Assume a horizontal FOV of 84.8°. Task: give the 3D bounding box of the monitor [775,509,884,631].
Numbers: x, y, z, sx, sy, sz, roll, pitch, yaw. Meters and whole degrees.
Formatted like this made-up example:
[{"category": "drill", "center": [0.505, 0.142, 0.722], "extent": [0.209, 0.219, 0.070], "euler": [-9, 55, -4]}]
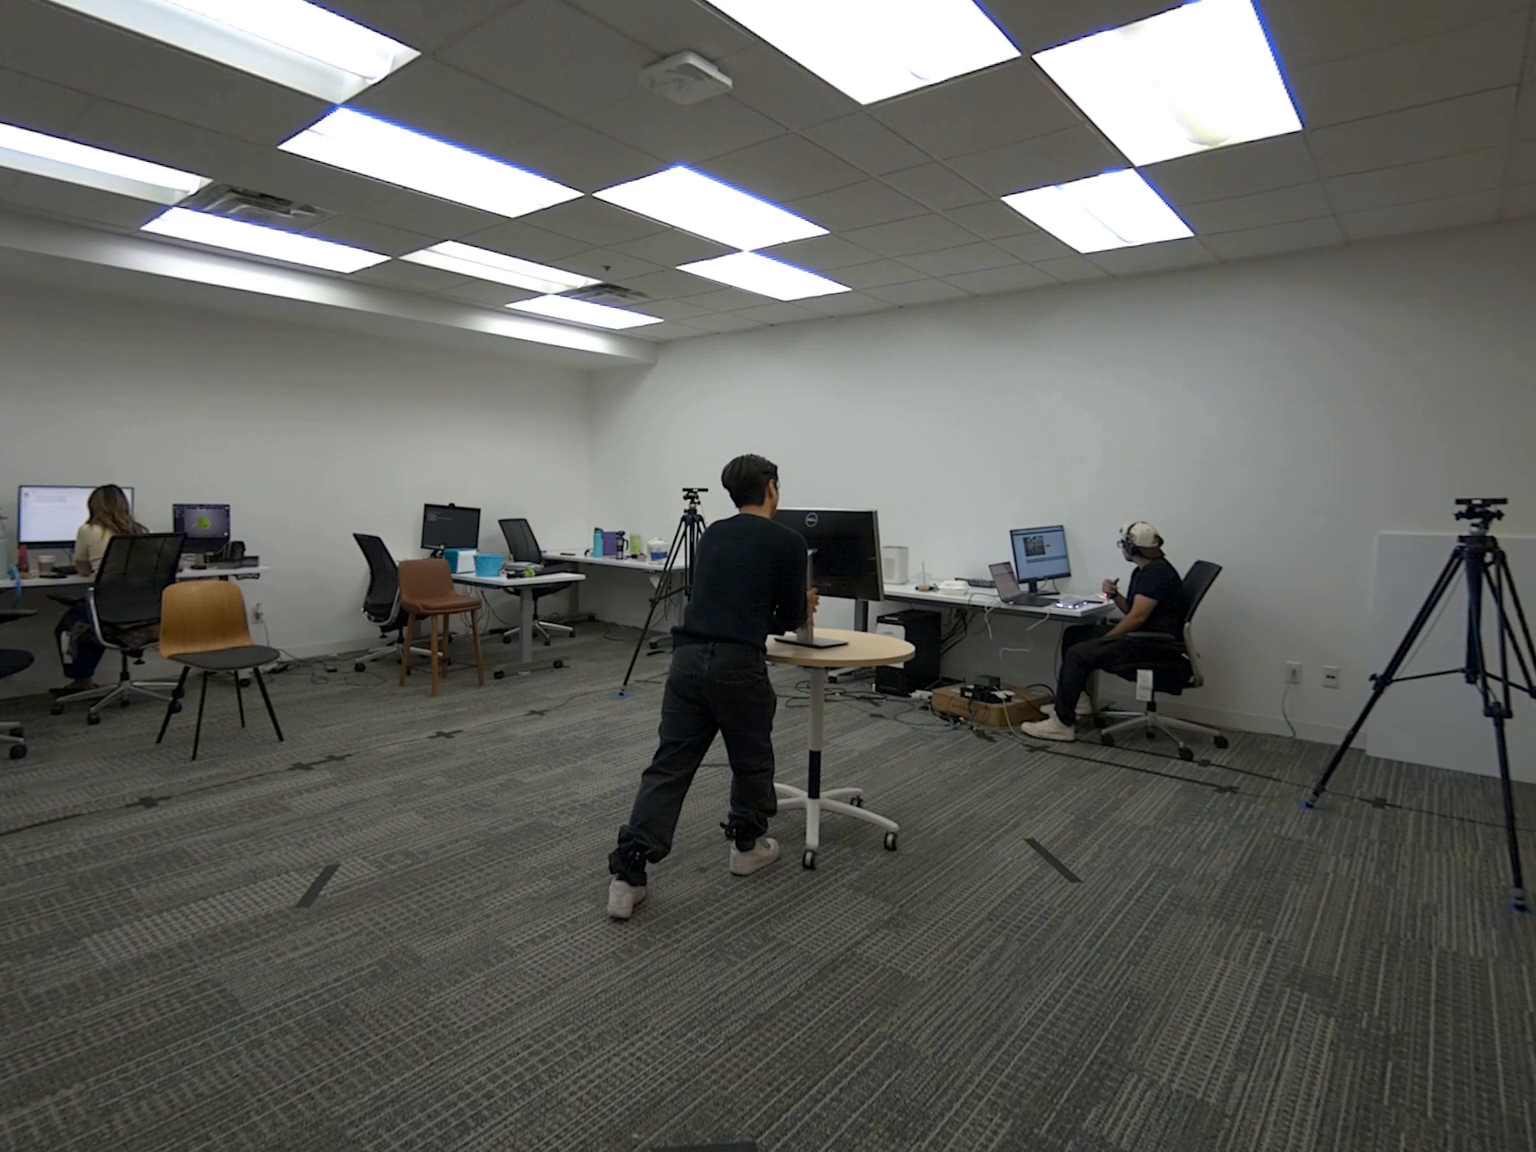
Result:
[{"category": "monitor", "center": [0.181, -0.006, 3.427], "extent": [0.547, 0.517, 0.168], "euler": [2, -3, 39]}]
